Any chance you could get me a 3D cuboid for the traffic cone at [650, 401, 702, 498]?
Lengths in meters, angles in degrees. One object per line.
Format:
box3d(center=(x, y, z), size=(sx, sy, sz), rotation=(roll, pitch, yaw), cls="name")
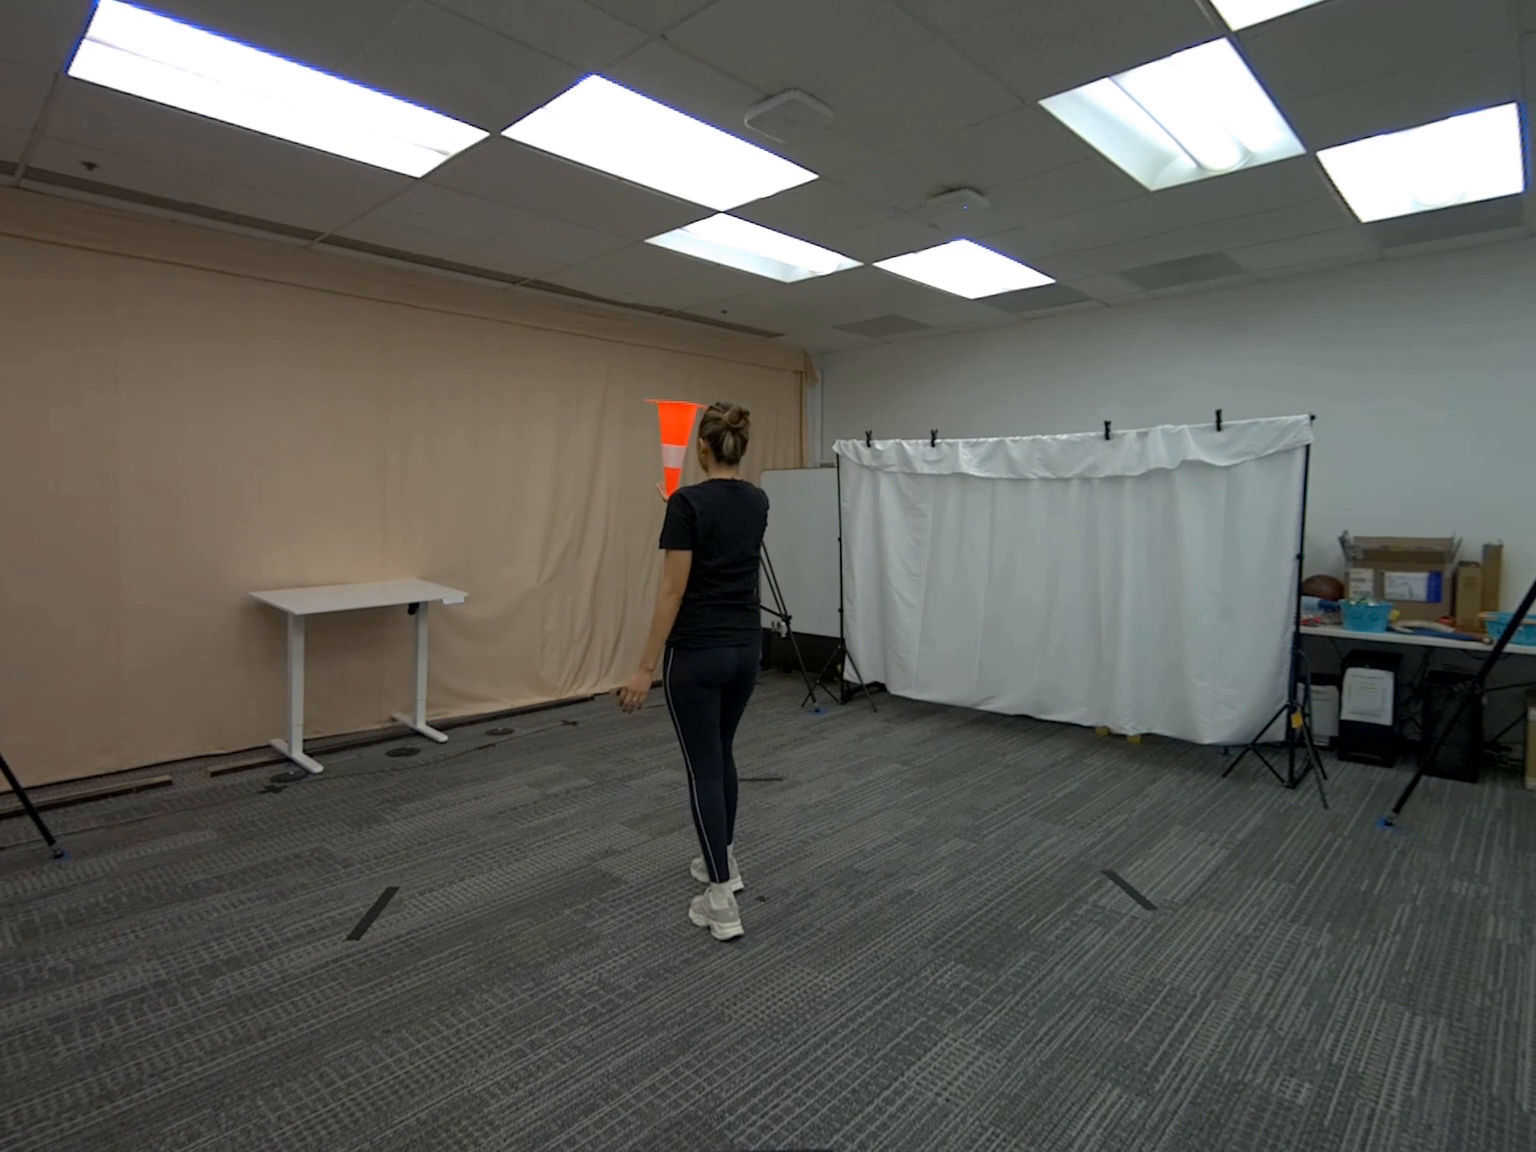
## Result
box3d(center=(-0.382, -0.504, 3.396), size=(0.212, 0.382, 0.197), rotation=(11, 8, 37), cls="traffic cone")
